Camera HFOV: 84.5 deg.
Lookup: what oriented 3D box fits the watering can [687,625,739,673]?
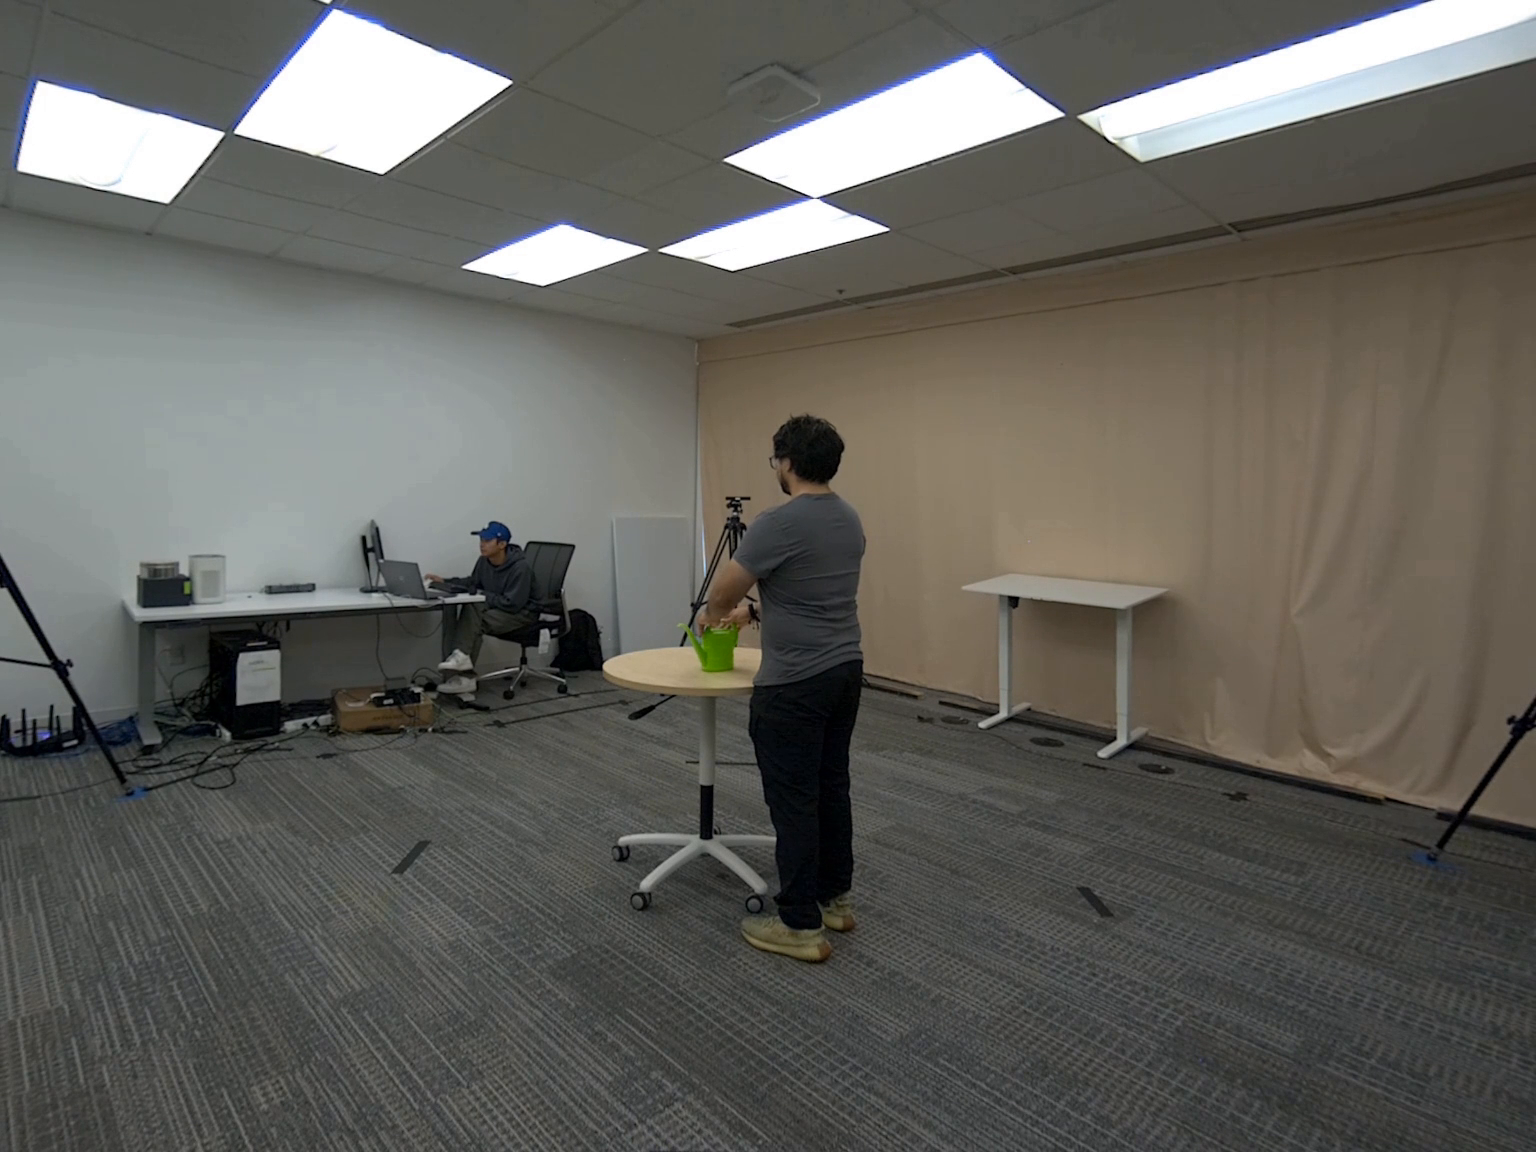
[{"bbox_3d":[-0.219,0.246,2.971,0.272,0.177,0.100,1,2,-36],"label":"watering can"}]
